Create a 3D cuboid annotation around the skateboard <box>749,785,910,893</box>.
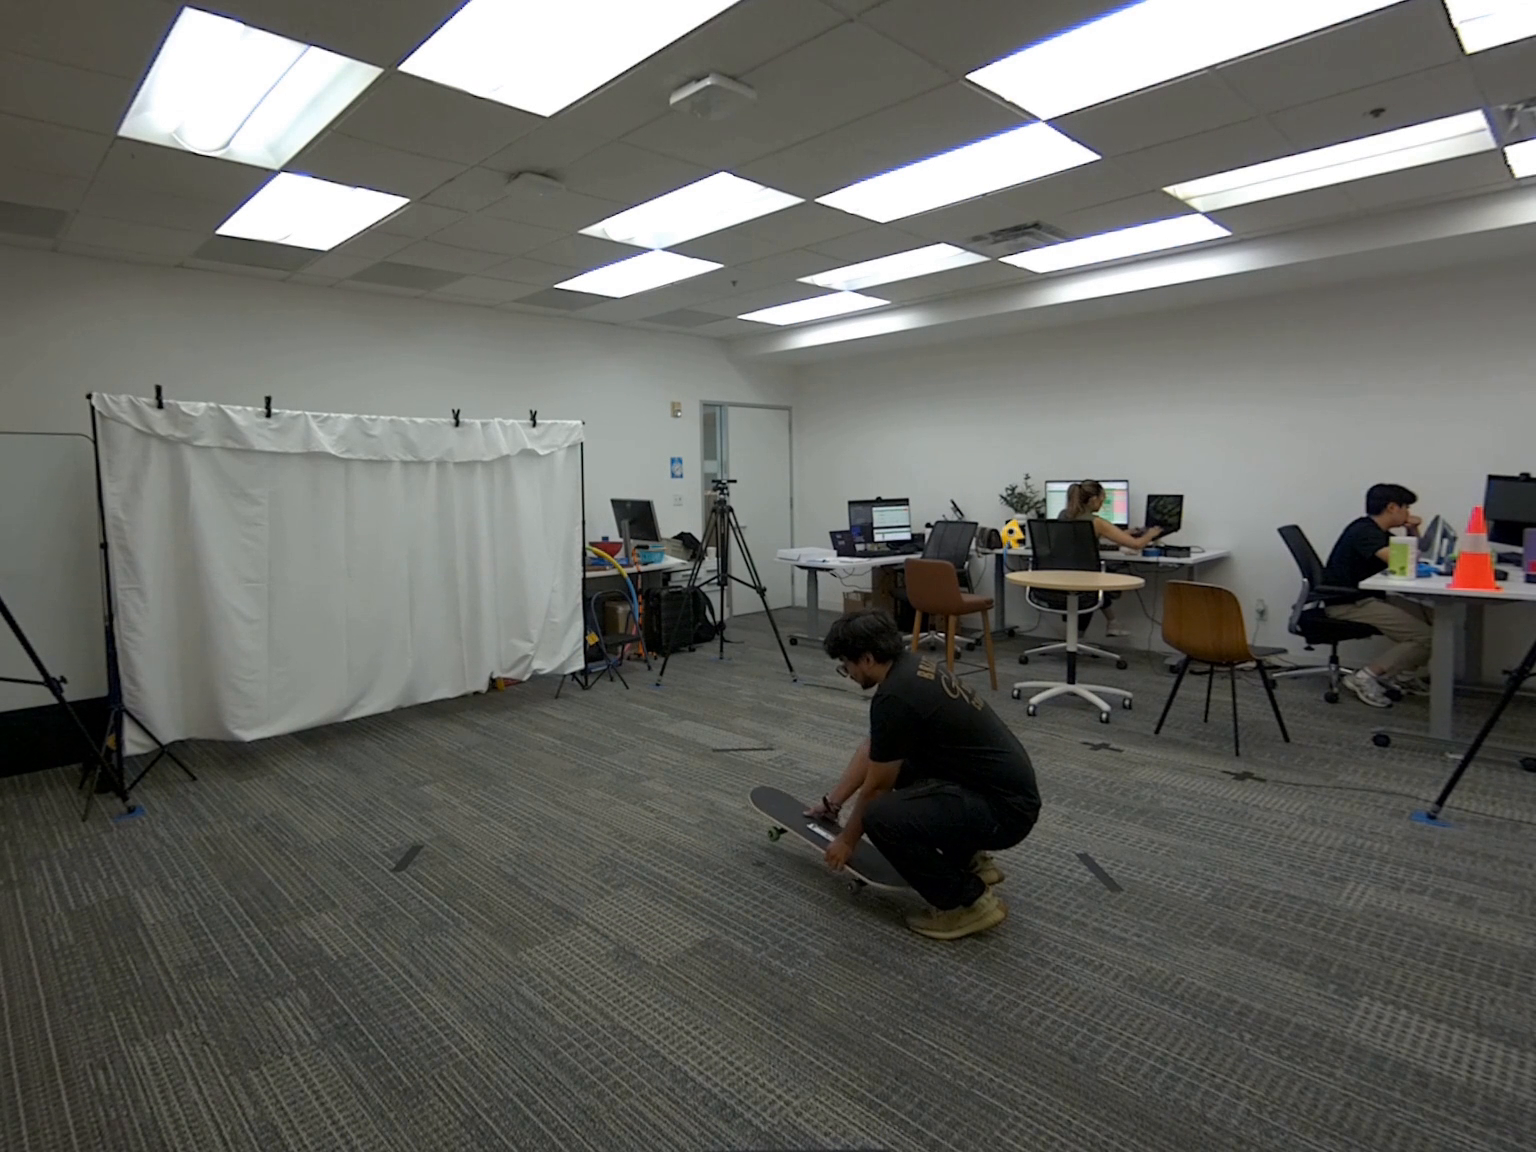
[{"bbox_3d":[0.218,0.945,2.971,0.188,0.109,0.813,-1,11,-38],"label":"skateboard"}]
